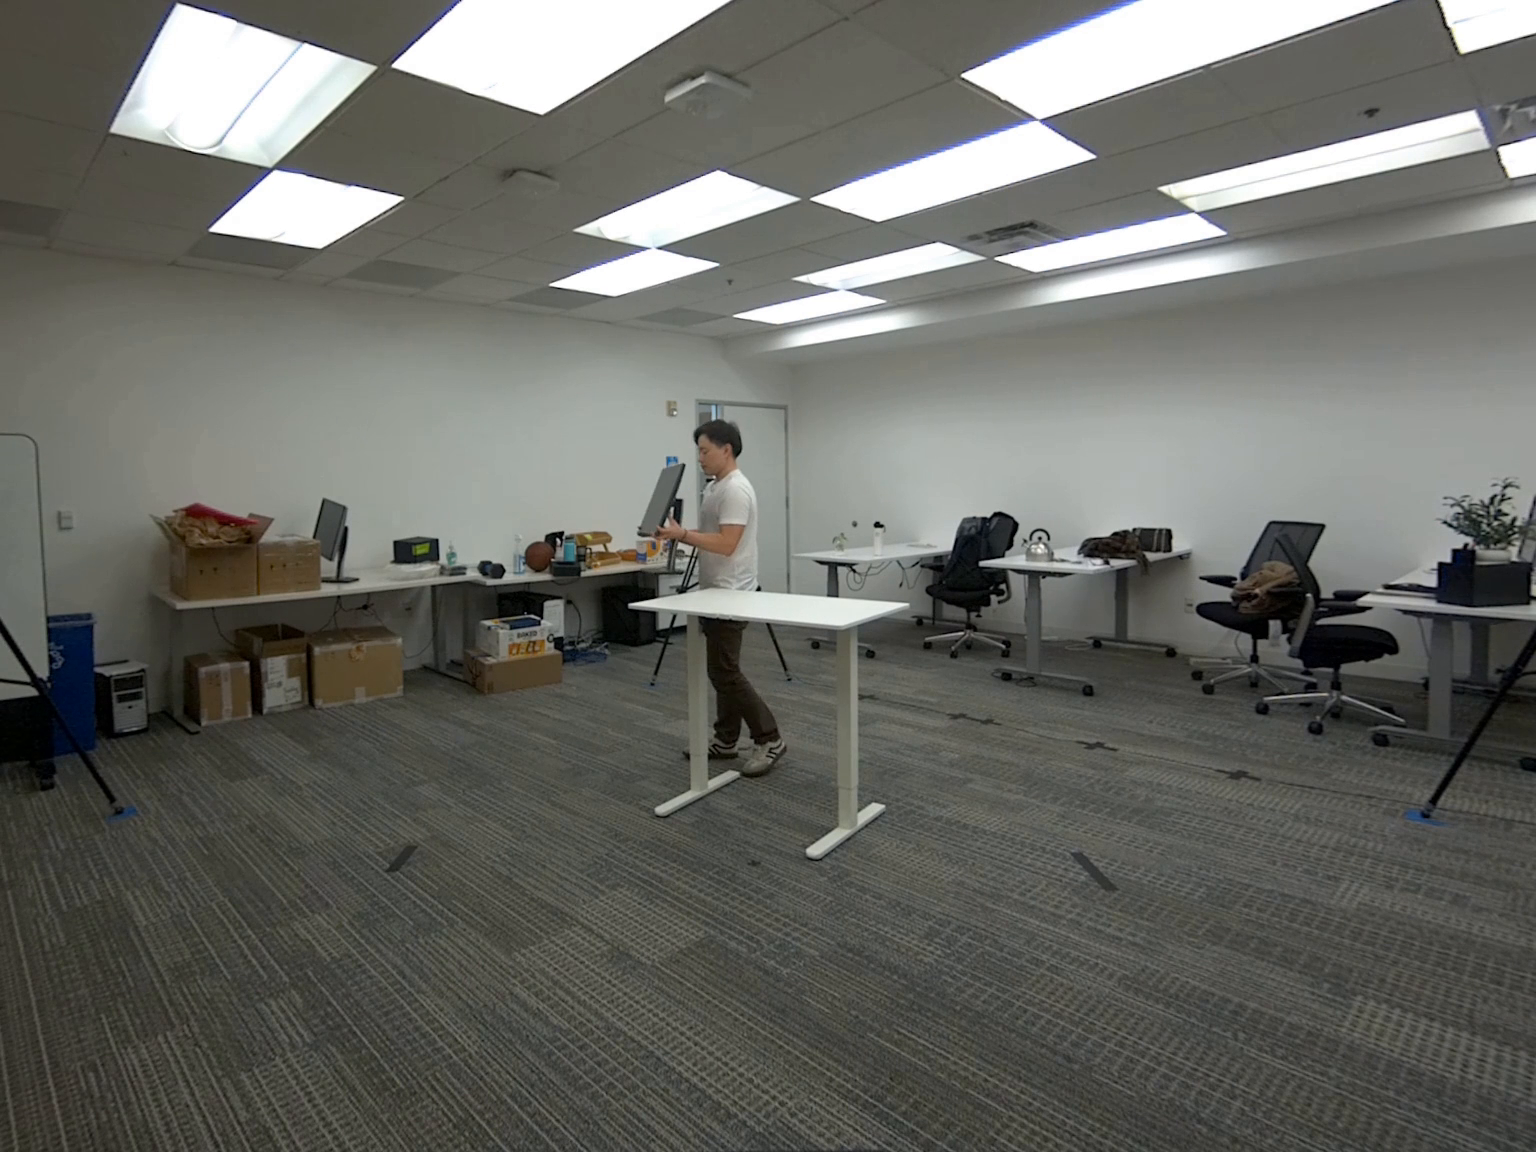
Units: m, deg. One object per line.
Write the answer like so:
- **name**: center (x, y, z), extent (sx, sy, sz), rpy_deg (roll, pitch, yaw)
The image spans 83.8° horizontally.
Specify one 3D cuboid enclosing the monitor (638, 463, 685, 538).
- **monitor**: center (-0.496, -0.279, 4.150), extent (0.184, 0.522, 0.549), rpy_deg (6, 2, -18)
